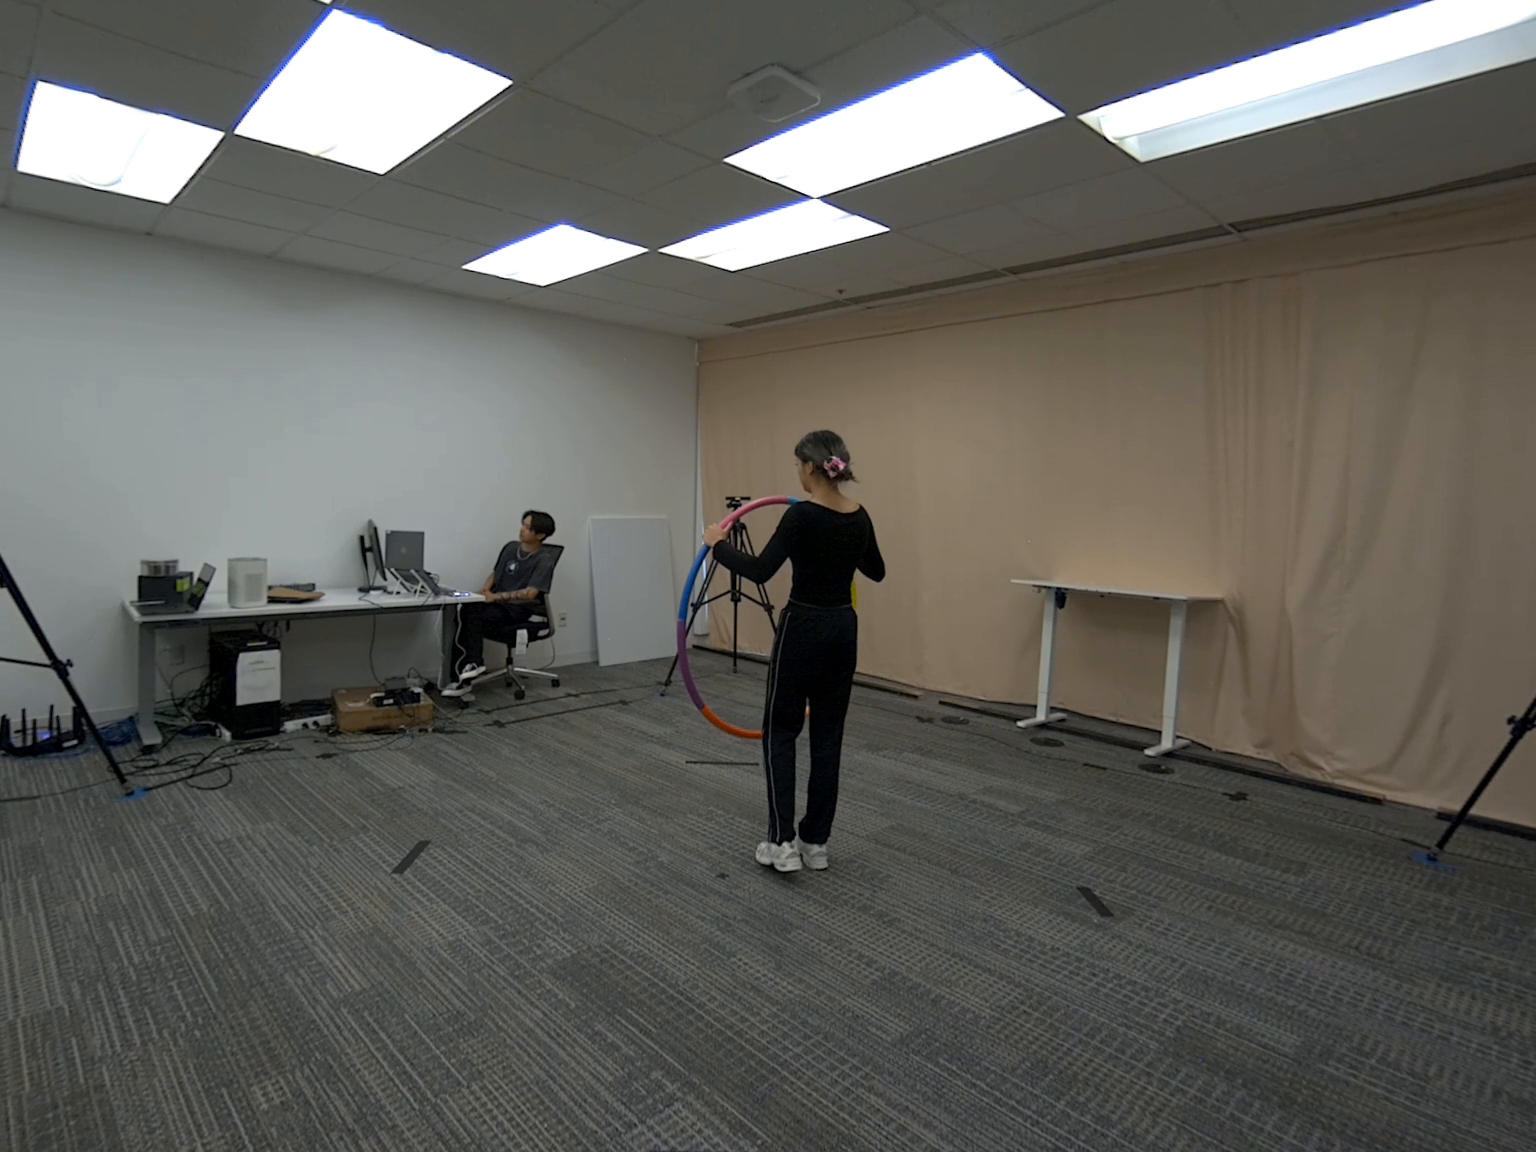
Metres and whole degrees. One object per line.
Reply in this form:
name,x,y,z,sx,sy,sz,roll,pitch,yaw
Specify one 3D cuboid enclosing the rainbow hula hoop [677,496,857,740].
rainbow hula hoop,0.022,0.170,3.434,0.957,0.975,0.036,-2,7,-39
